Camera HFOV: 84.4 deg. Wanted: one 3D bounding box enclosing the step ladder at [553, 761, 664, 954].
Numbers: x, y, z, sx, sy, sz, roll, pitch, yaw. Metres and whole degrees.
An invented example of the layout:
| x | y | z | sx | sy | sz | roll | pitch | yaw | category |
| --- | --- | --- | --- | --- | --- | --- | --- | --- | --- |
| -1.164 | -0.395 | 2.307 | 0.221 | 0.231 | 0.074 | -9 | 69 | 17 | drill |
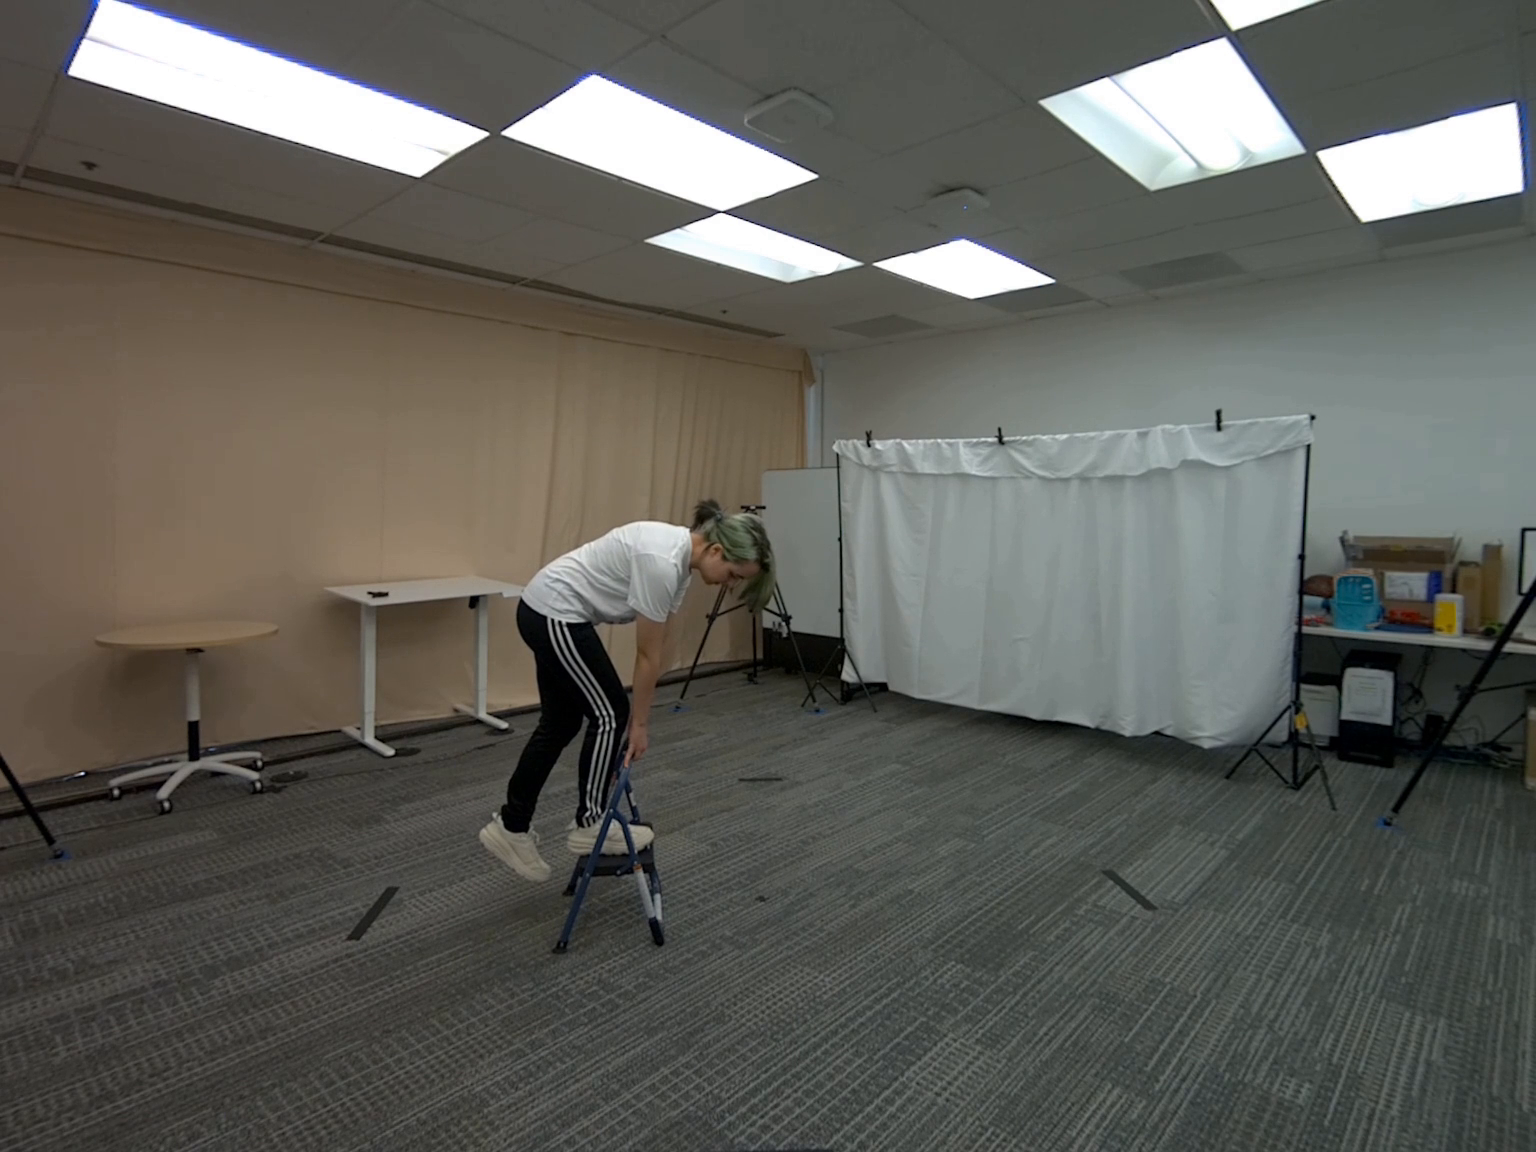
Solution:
| x | y | z | sx | sy | sz | roll | pitch | yaw | category |
| --- | --- | --- | --- | --- | --- | --- | --- | --- | --- |
| -0.532 | 0.862 | 2.838 | 0.347 | 0.605 | 0.434 | -1 | 3 | -8 | step ladder |
